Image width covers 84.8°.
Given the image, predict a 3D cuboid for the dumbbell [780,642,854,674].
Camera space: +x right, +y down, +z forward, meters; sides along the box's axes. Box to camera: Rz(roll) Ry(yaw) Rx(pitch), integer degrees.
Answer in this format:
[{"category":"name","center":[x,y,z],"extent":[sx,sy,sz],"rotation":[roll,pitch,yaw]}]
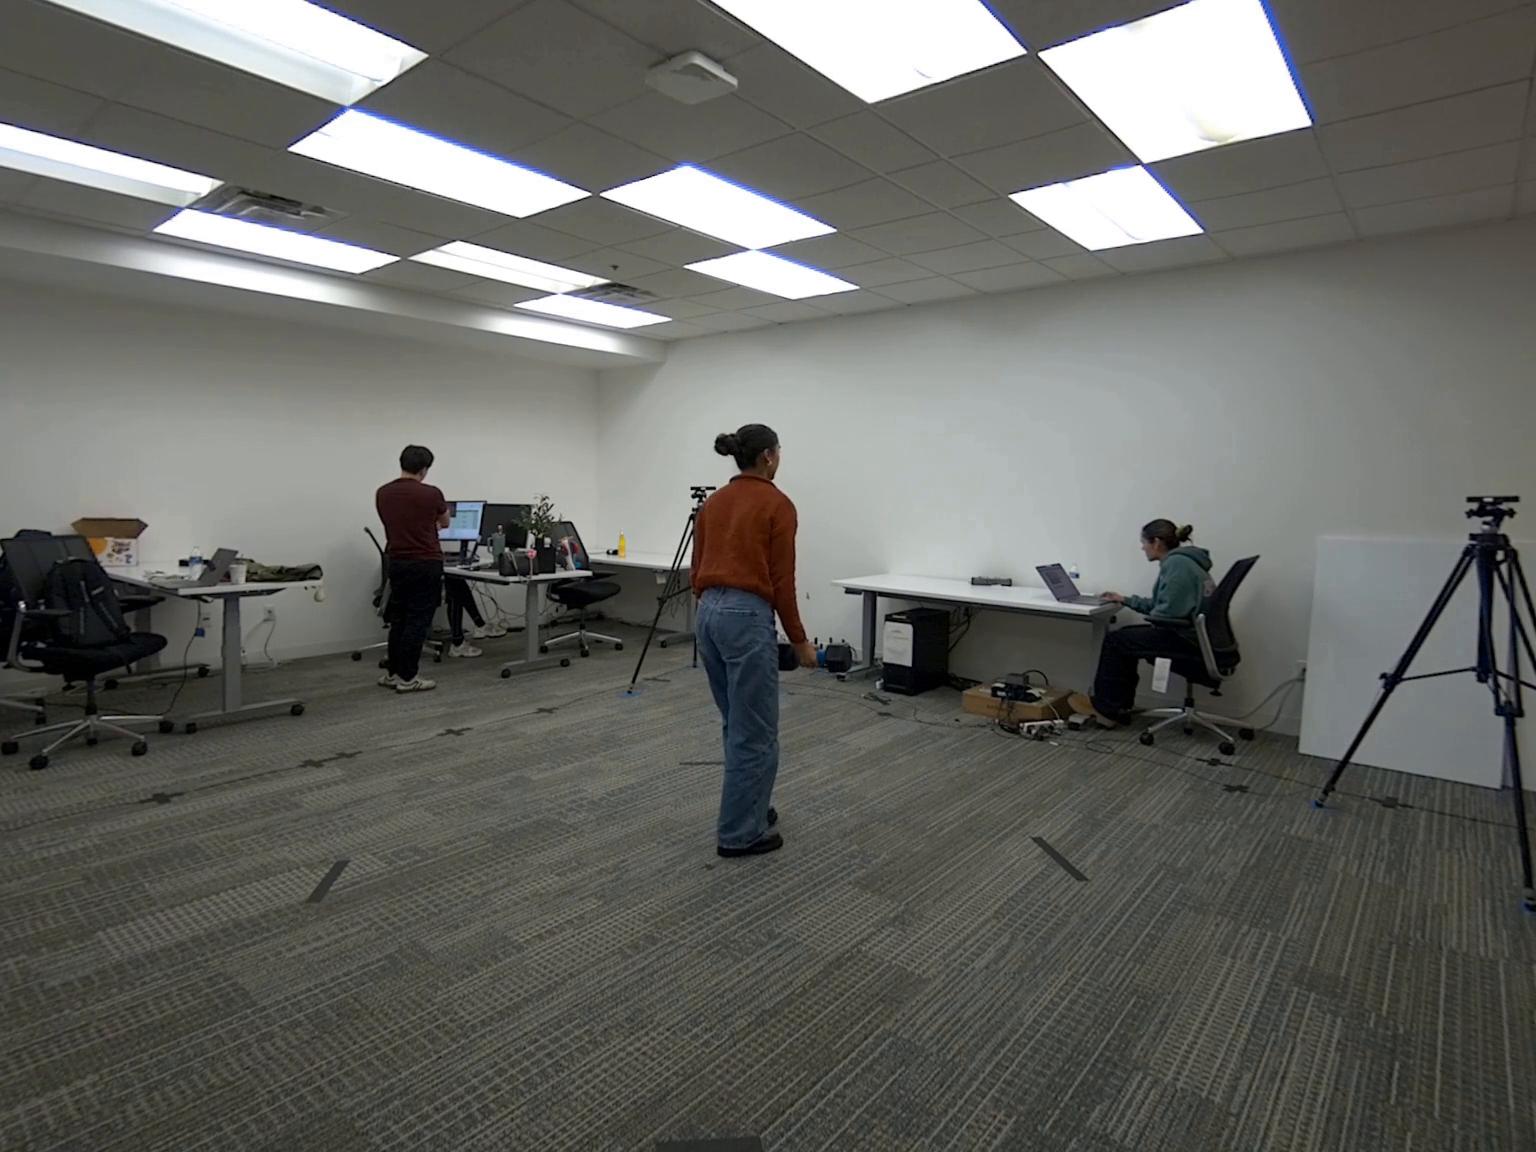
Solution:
[{"category":"dumbbell","center":[0.164,0.309,3.278],"extent":[0.301,0.119,0.109],"rotation":[-1,32,27]}]
